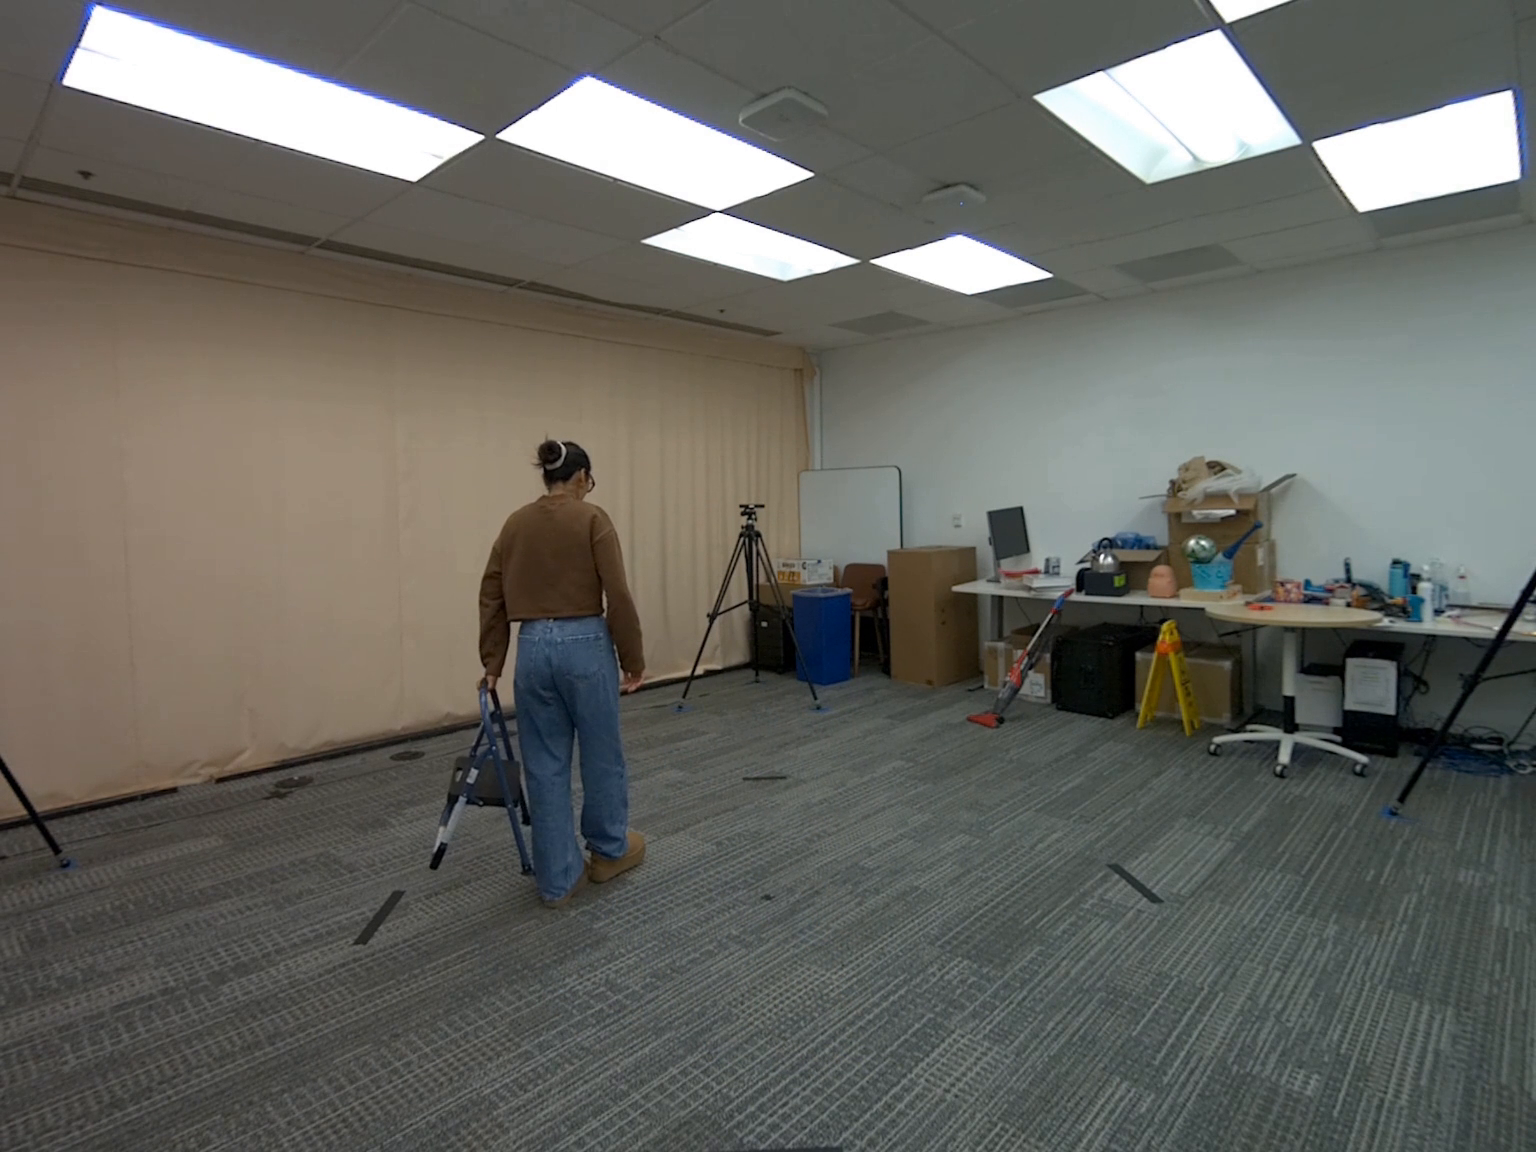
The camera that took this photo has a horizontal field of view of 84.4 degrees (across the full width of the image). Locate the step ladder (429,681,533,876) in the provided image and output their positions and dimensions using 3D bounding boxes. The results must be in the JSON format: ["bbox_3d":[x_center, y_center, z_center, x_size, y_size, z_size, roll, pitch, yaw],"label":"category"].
[{"bbox_3d":[-0.986,0.688,3.036,0.343,0.604,0.439,8,5,-16],"label":"step ladder"}]
